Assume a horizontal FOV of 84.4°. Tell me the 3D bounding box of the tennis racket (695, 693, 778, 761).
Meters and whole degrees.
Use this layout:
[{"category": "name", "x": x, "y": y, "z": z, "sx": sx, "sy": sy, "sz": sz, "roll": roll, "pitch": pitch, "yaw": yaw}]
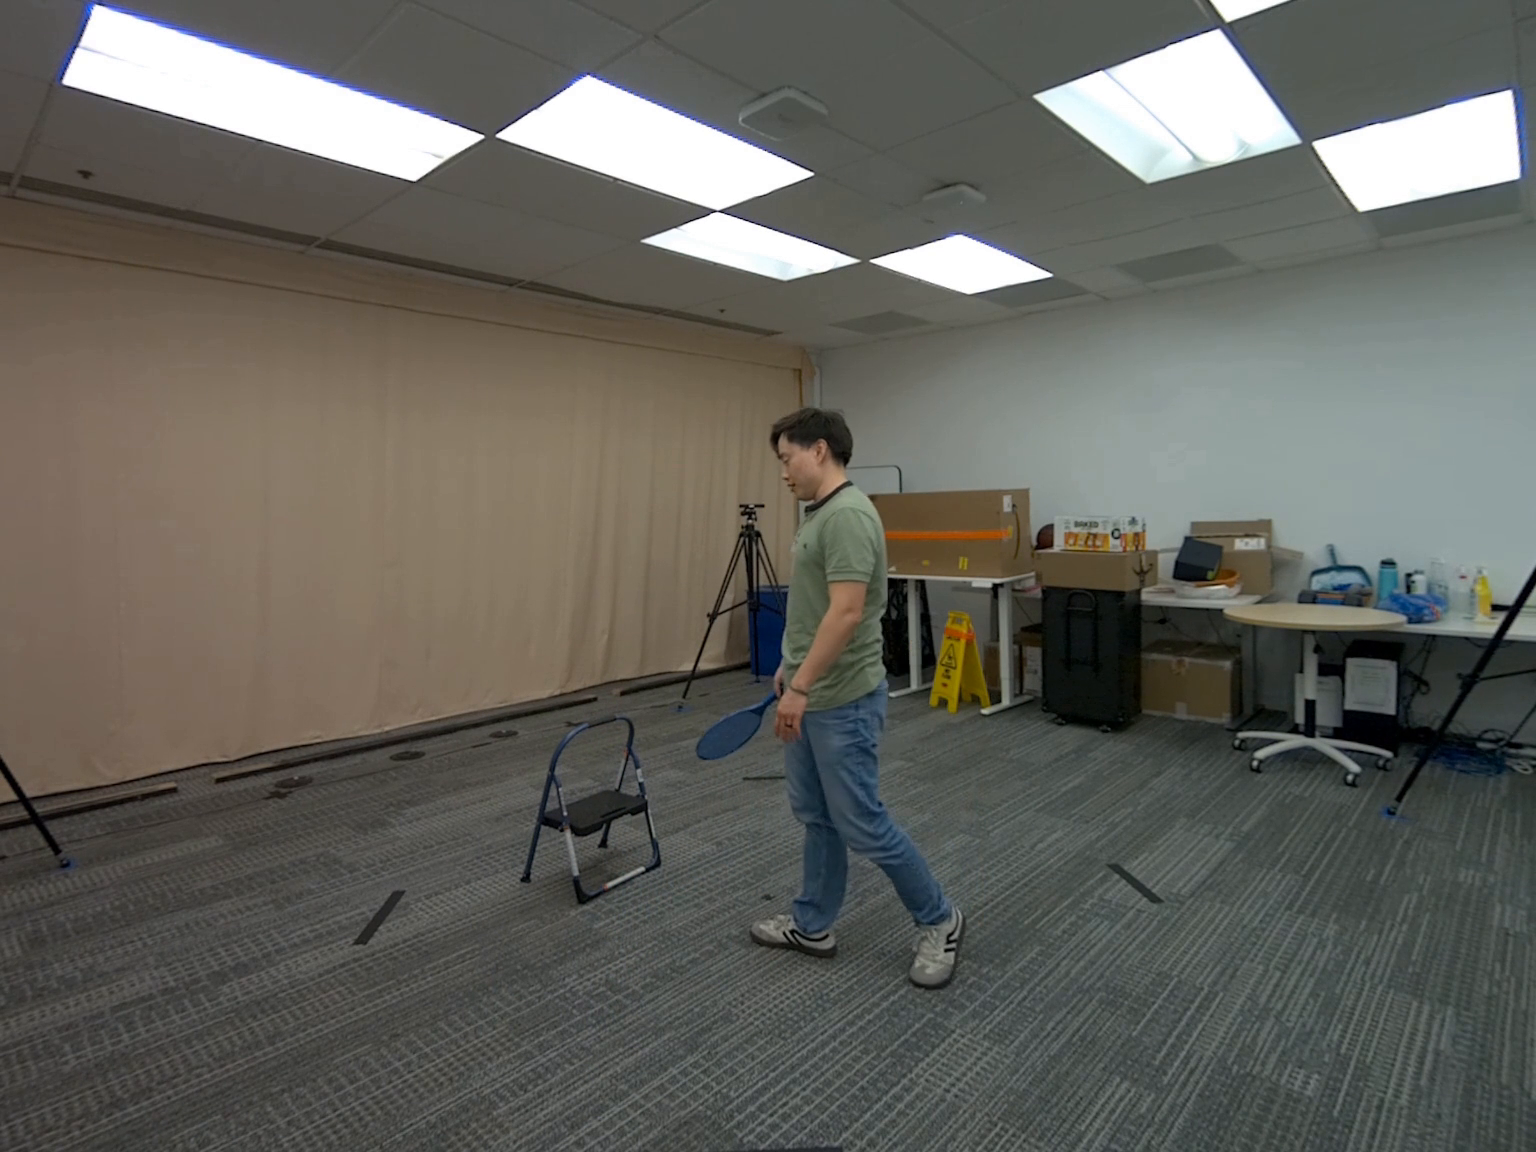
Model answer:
[{"category": "tennis racket", "x": -0.061, "y": 0.486, "z": 2.887, "sx": 0.435, "sy": 0.033, "sz": 0.206, "roll": -39, "pitch": -40, "yaw": 11}]
